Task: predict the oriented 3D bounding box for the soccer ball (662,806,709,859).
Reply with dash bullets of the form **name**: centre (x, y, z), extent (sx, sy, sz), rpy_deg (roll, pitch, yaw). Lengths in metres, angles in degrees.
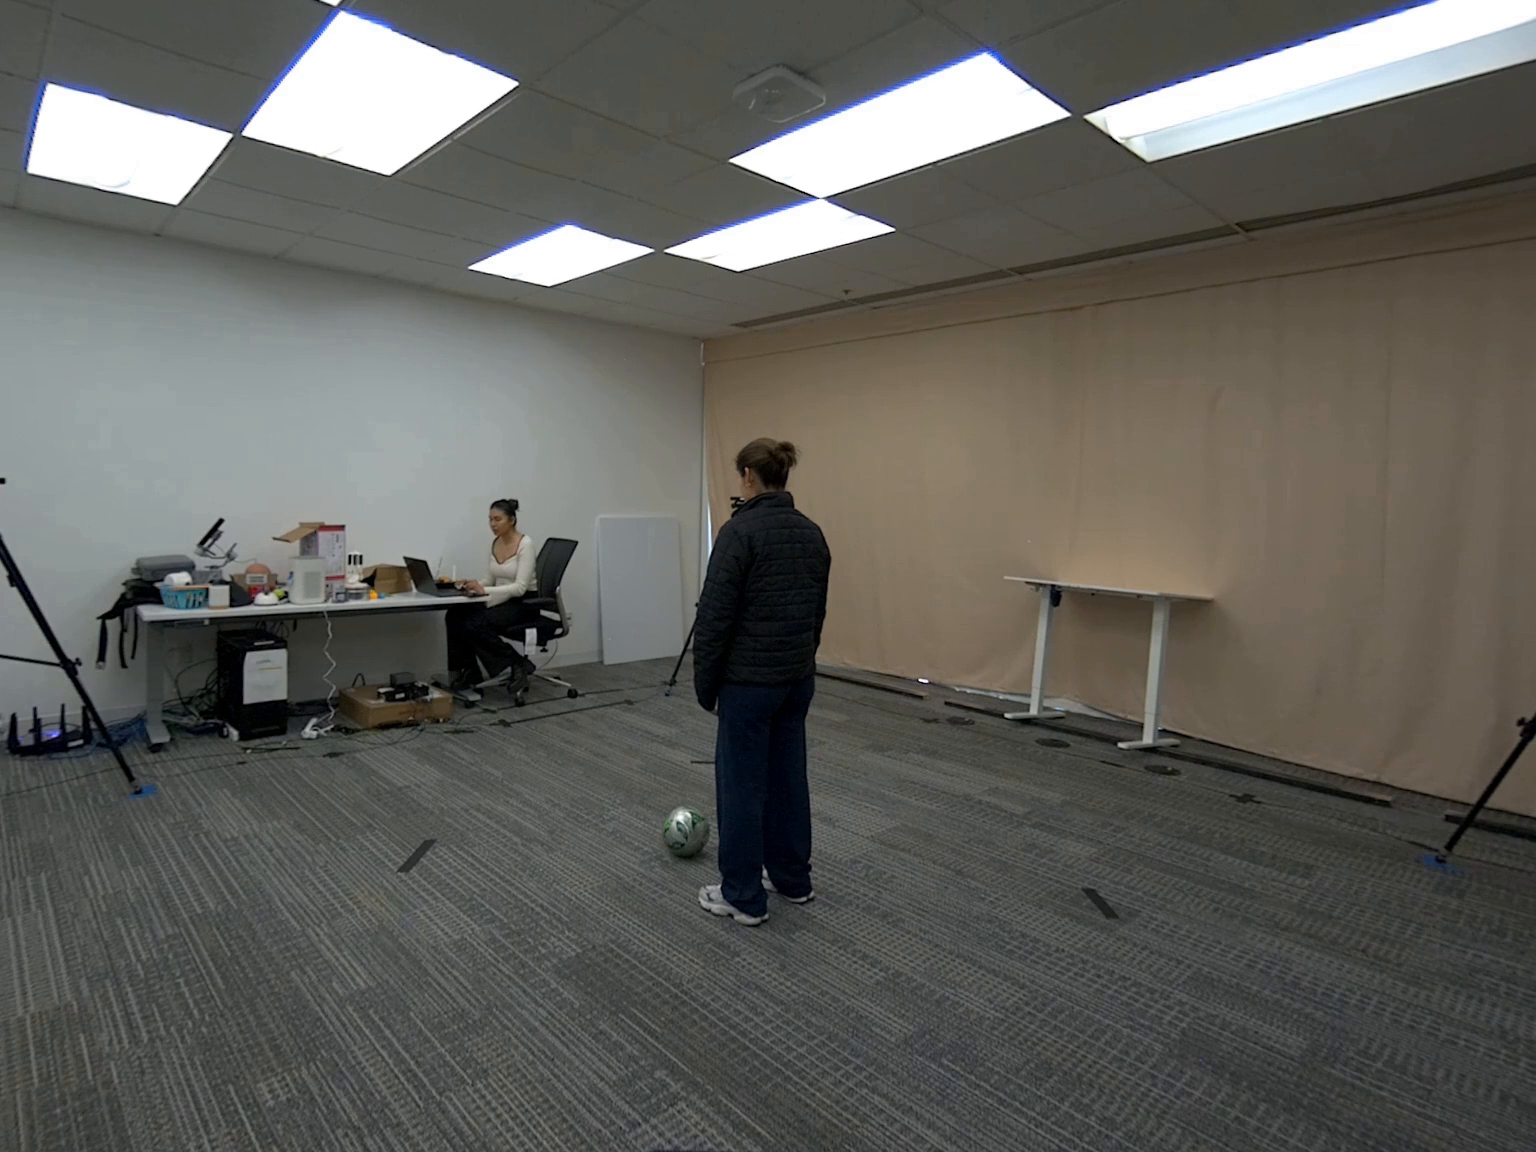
- **soccer ball**: centre (-0.331, 0.991, 3.276), extent (0.187, 0.187, 0.188), rpy_deg (1, 4, -1)
